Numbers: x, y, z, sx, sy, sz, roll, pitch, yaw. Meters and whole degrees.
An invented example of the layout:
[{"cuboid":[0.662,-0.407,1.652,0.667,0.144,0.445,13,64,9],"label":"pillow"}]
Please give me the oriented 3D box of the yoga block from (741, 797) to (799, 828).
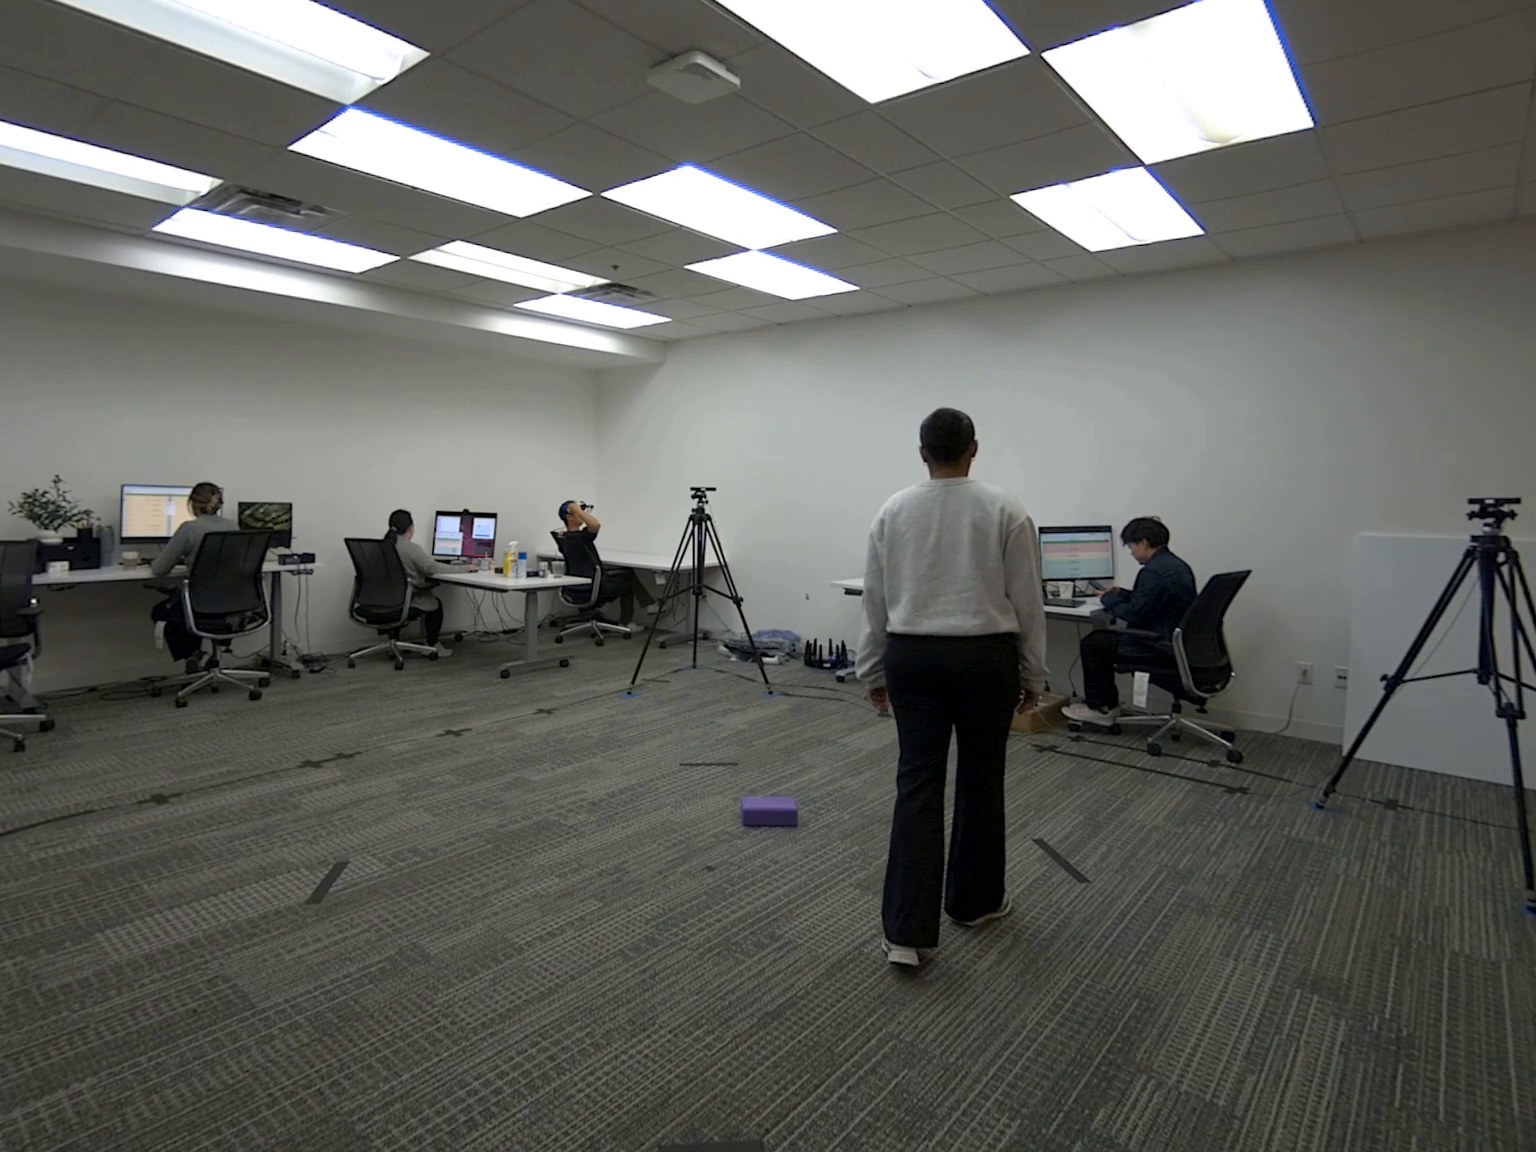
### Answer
[{"cuboid":[-0.005,0.983,3.577,0.229,0.076,0.150,1,7,-2],"label":"yoga block"}]
